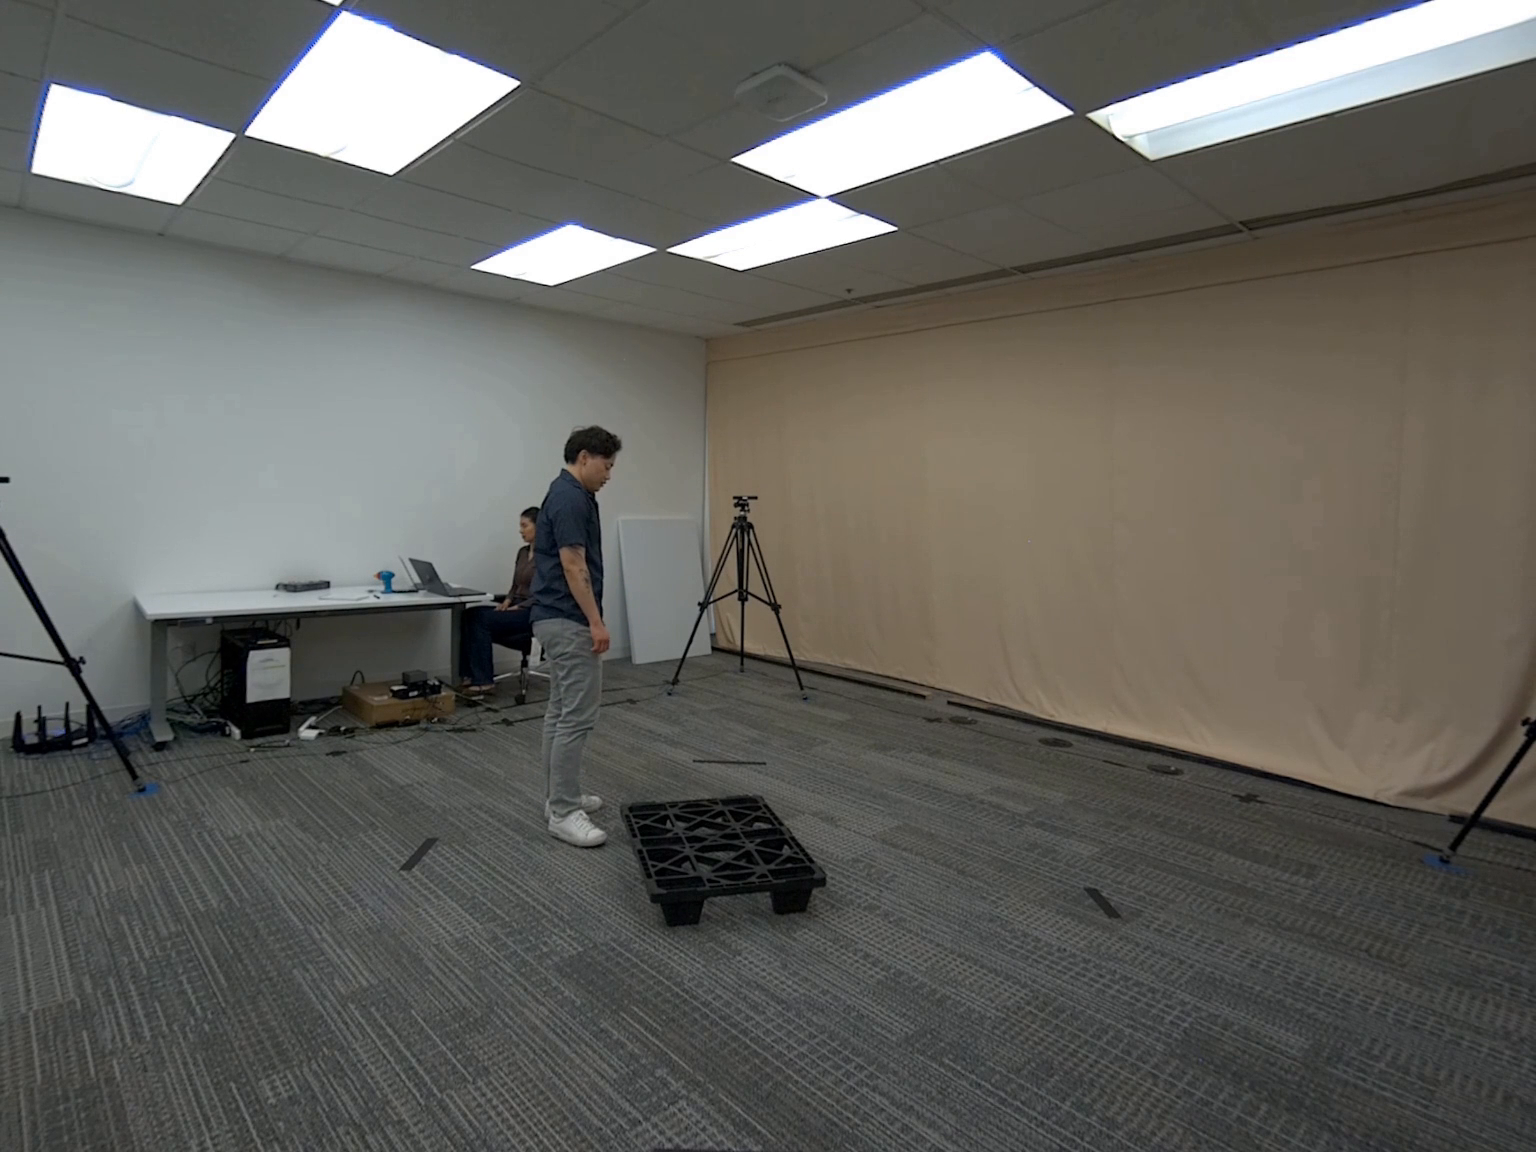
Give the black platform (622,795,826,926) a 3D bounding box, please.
[{"bbox_3d":[-0.206,1.031,3.123,0.598,0.143,0.818,0,6,-16],"label":"black platform"}]
